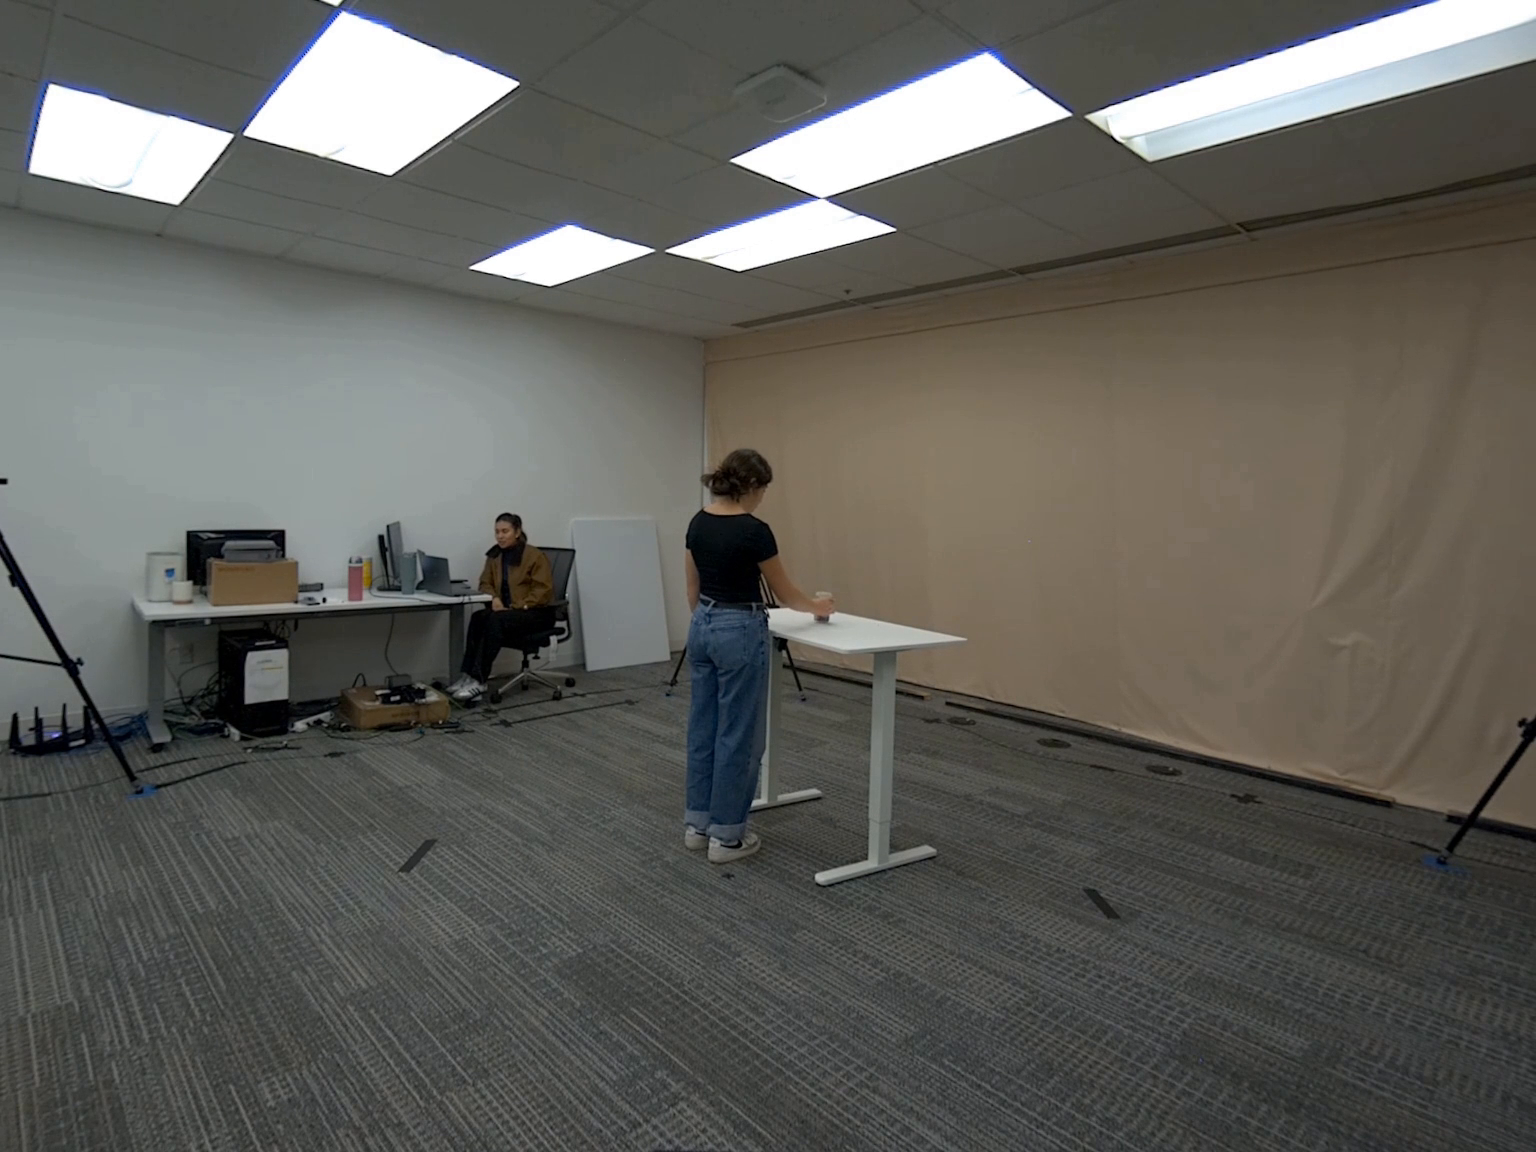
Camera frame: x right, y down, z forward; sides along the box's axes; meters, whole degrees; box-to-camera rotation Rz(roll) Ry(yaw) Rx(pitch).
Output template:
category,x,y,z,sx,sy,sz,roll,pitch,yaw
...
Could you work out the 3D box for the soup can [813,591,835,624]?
category,x,y,z,sx,sy,sz,roll,pitch,yaw
soup can,0.228,0.130,3.536,0.067,0.121,0.067,6,5,-2
